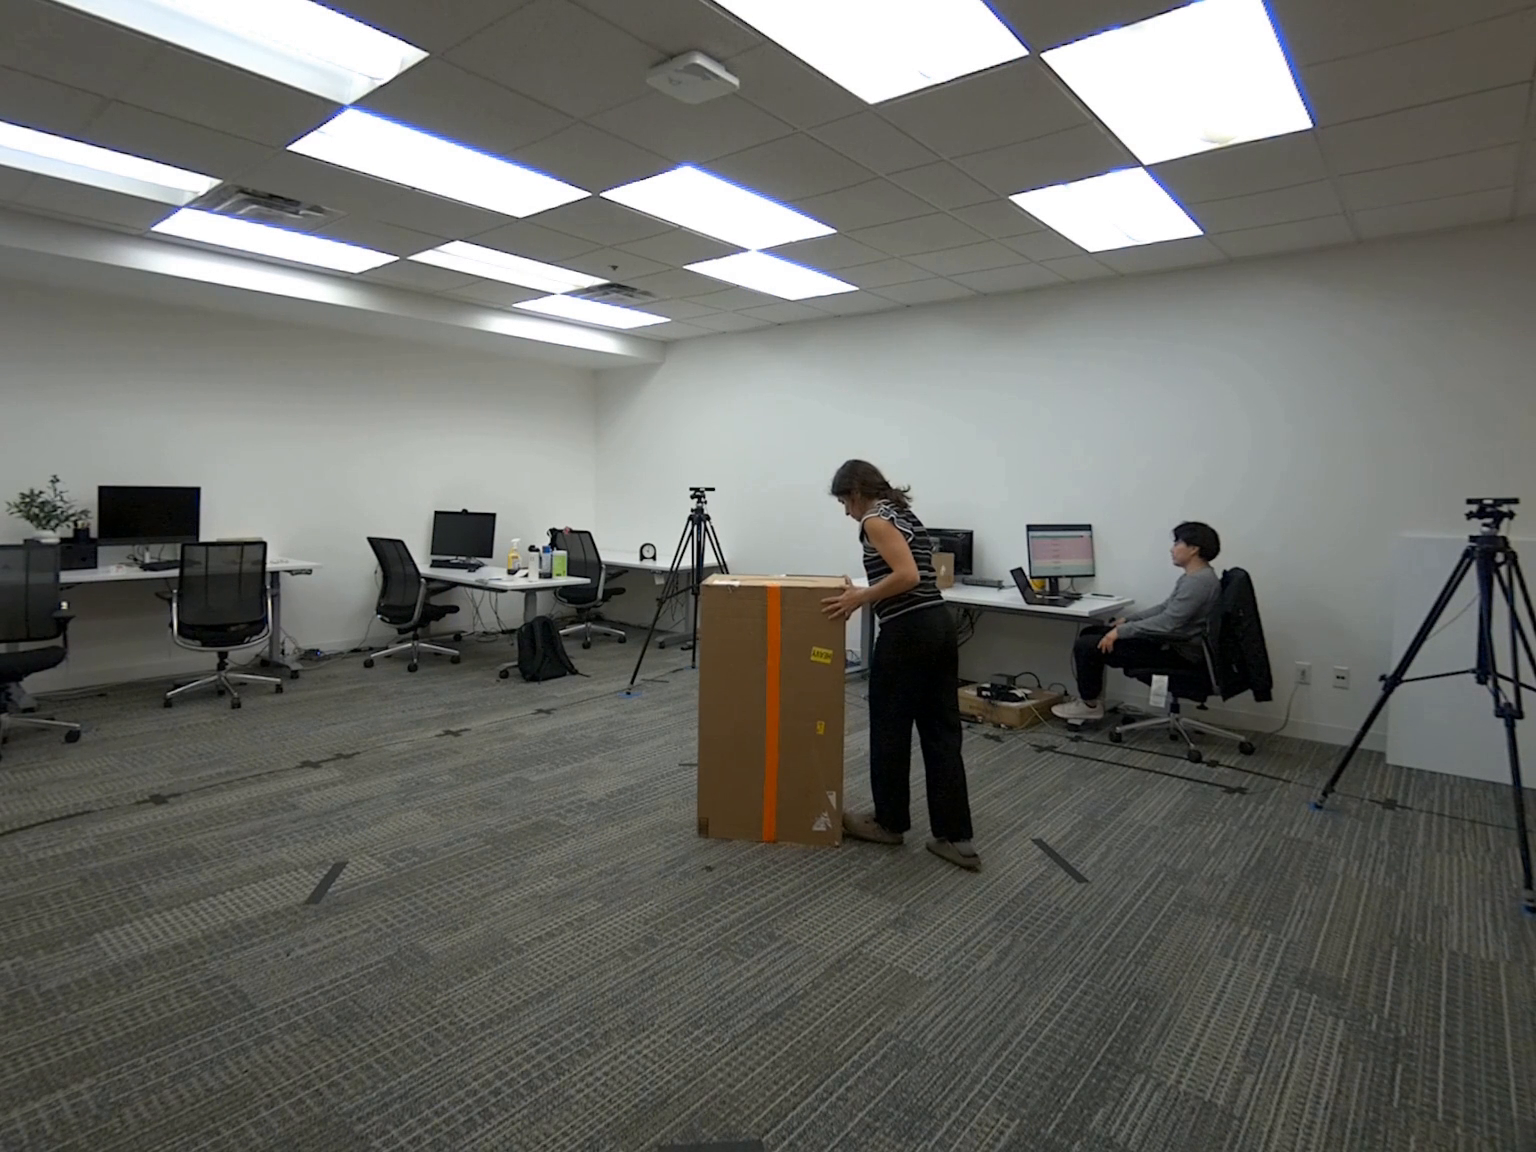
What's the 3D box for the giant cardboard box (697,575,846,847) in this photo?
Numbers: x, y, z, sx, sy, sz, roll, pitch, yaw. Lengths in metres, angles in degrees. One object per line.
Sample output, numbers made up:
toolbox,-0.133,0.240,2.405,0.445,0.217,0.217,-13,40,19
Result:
giant cardboard box,0.015,0.523,3.543,0.582,1.023,0.424,1,3,7
